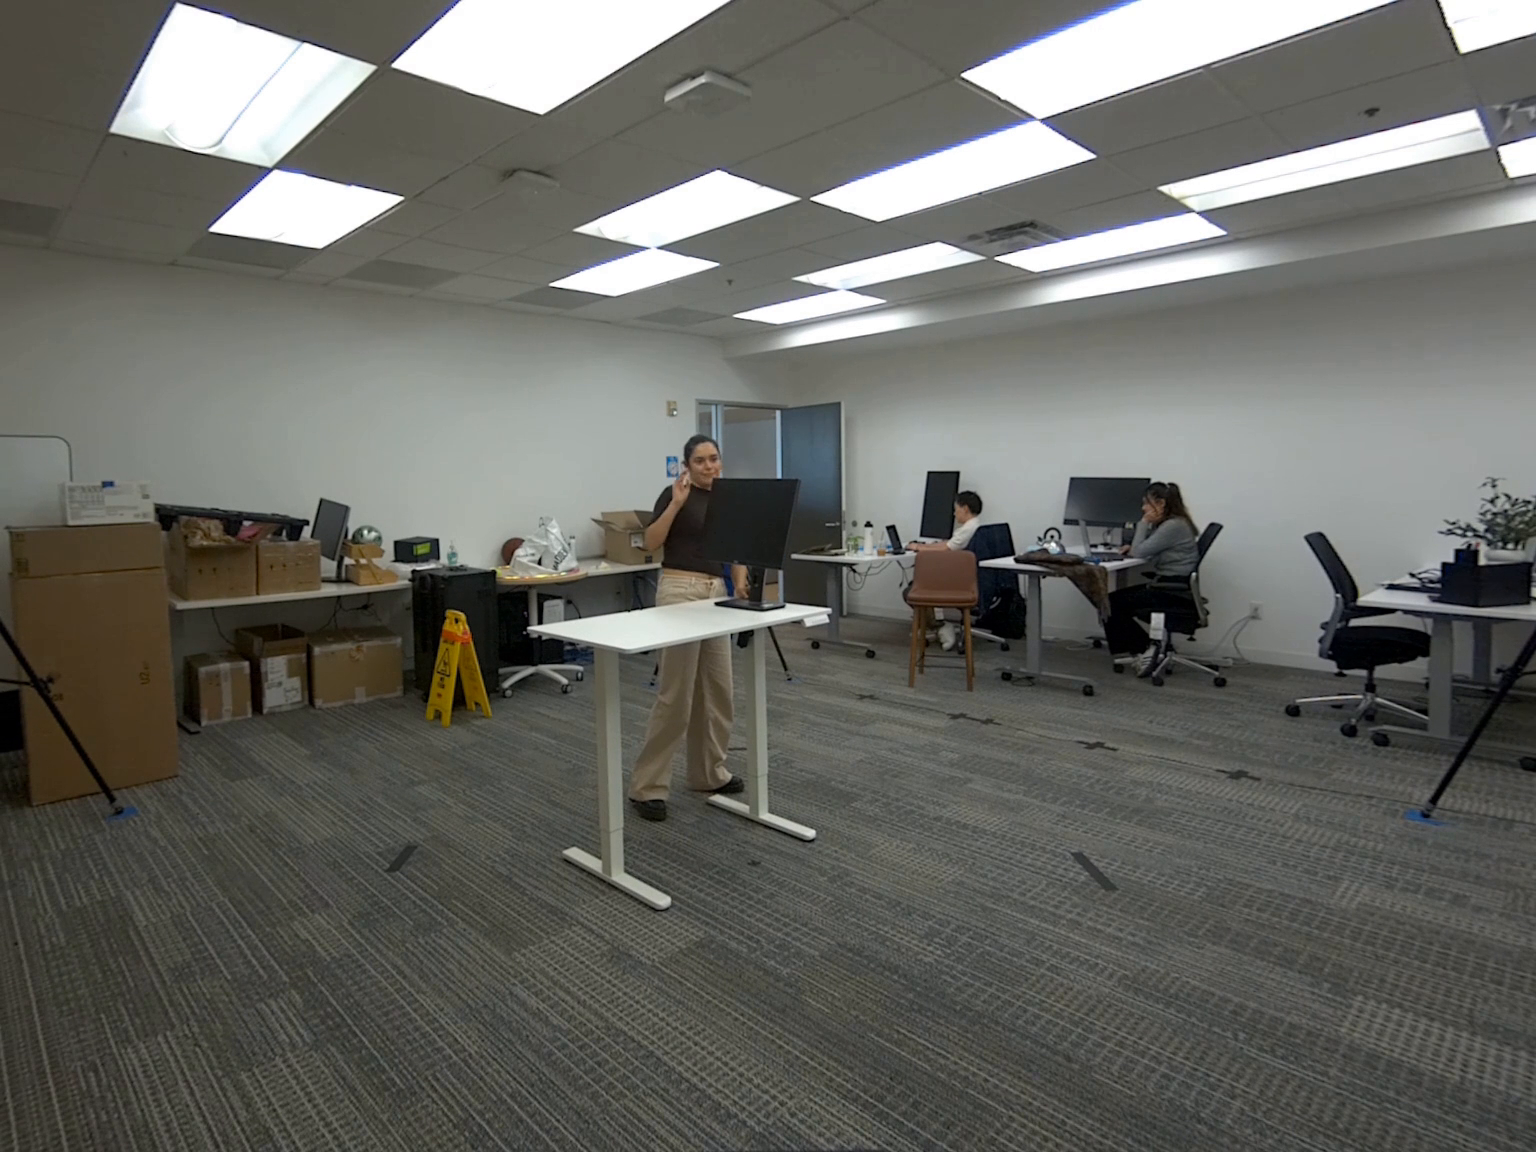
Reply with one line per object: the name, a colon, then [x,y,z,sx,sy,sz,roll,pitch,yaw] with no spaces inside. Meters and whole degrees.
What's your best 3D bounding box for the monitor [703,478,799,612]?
monitor: [-0.068,-0.129,3.446,0.182,0.521,0.556,-2,5,-42]
